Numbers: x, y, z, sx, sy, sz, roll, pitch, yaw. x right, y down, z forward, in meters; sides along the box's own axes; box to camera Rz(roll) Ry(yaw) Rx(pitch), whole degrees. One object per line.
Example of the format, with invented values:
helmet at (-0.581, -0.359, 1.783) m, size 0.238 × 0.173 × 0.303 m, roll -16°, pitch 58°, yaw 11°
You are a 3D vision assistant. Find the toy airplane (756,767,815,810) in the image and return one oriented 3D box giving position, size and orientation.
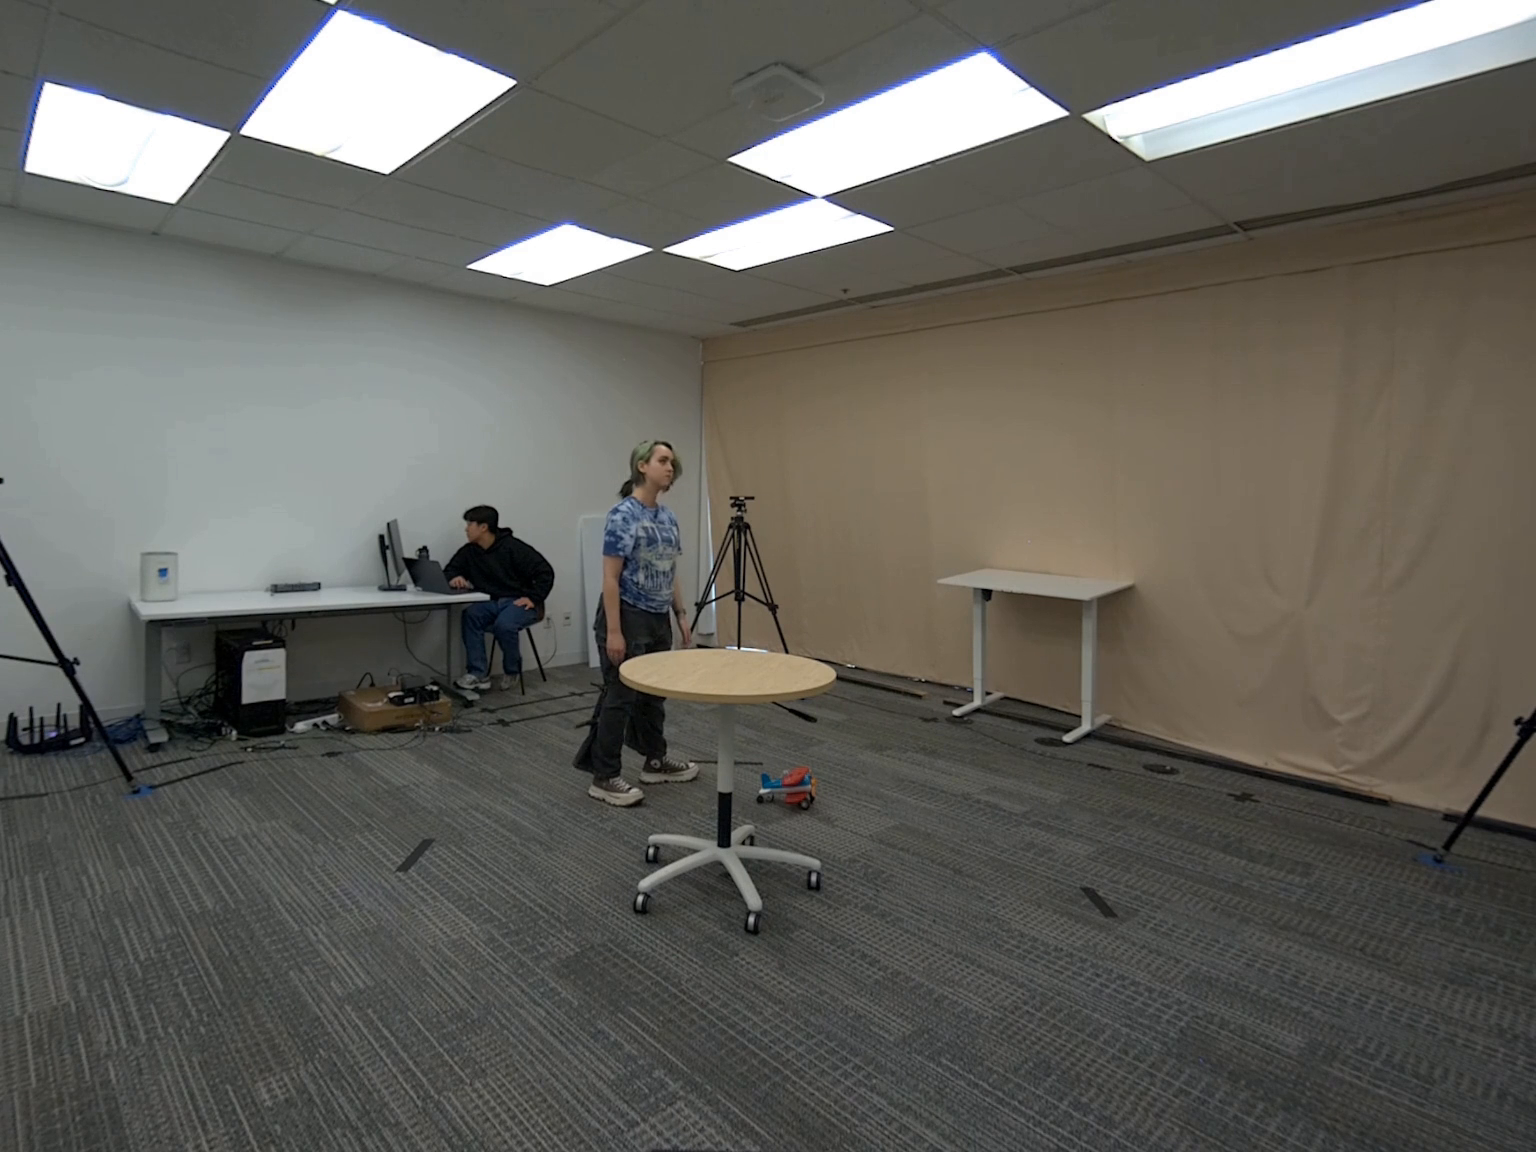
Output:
toy airplane at (0.080, 0.973, 3.835) m, size 0.257 × 0.156 × 0.254 m, roll 2°, pitch 4°, yaw -12°
